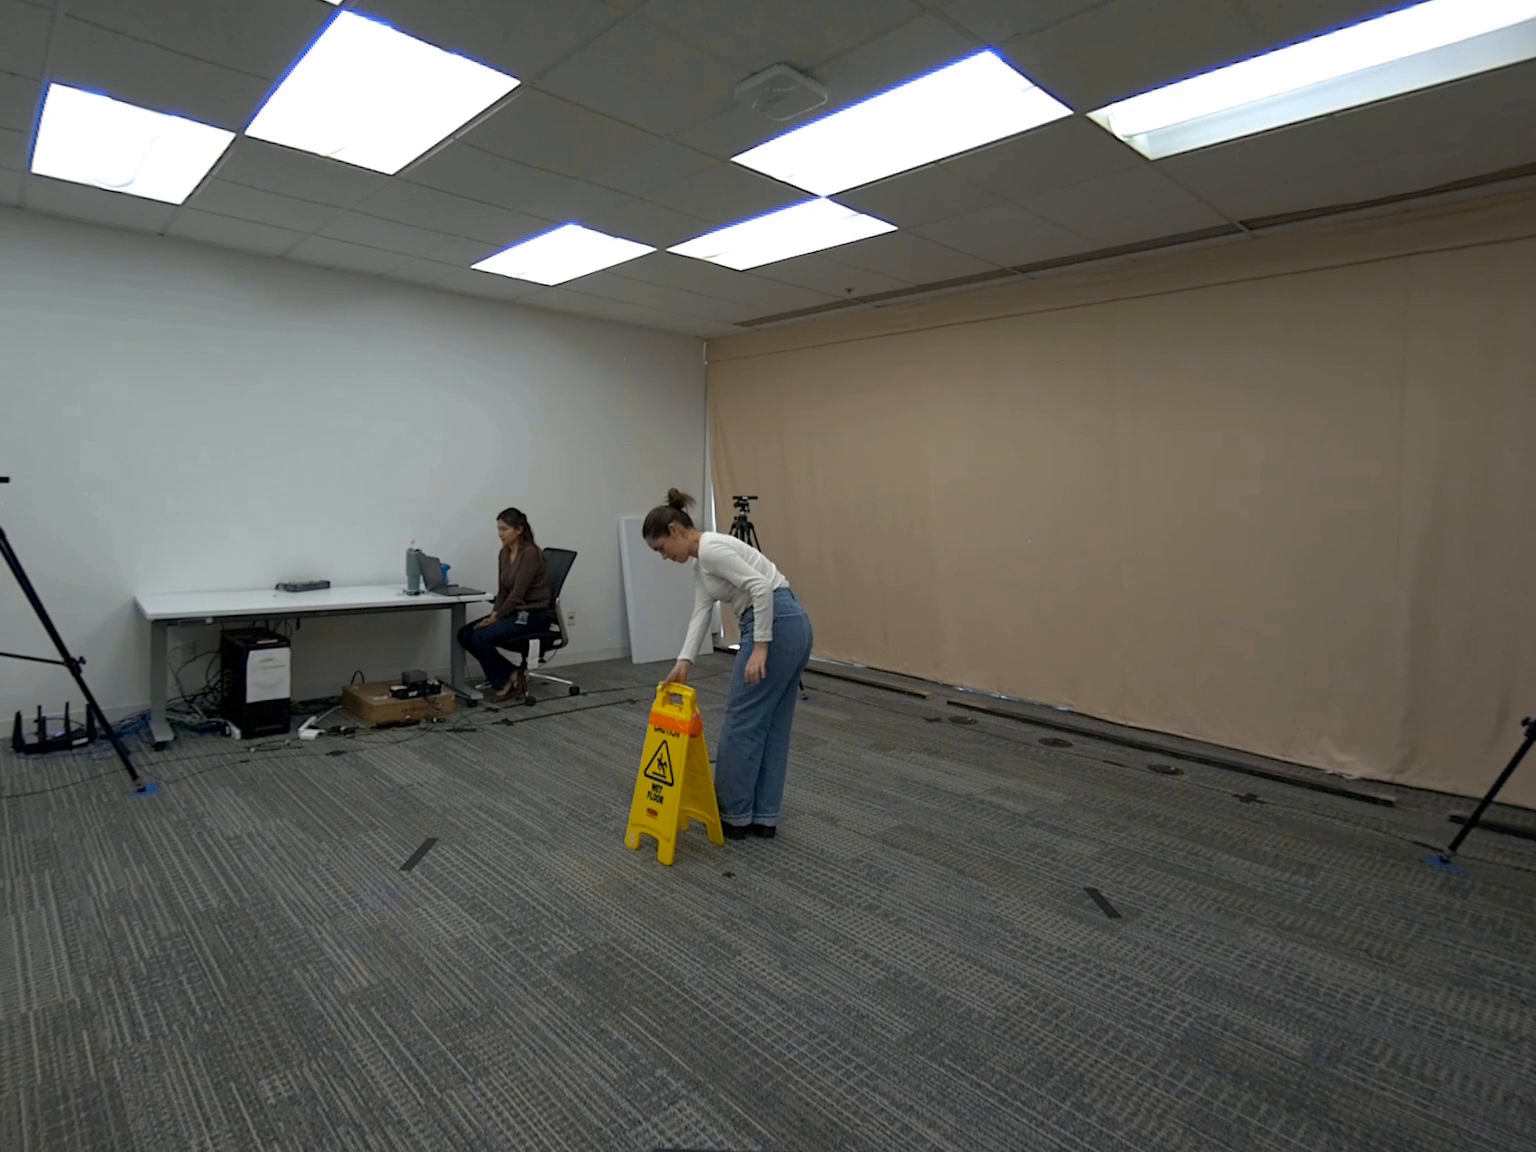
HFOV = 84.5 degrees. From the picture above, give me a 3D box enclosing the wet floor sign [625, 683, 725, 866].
[{"bbox_3d":[-0.375,0.753,3.350,0.289,0.645,0.283,5,4,42],"label":"wet floor sign"}]
